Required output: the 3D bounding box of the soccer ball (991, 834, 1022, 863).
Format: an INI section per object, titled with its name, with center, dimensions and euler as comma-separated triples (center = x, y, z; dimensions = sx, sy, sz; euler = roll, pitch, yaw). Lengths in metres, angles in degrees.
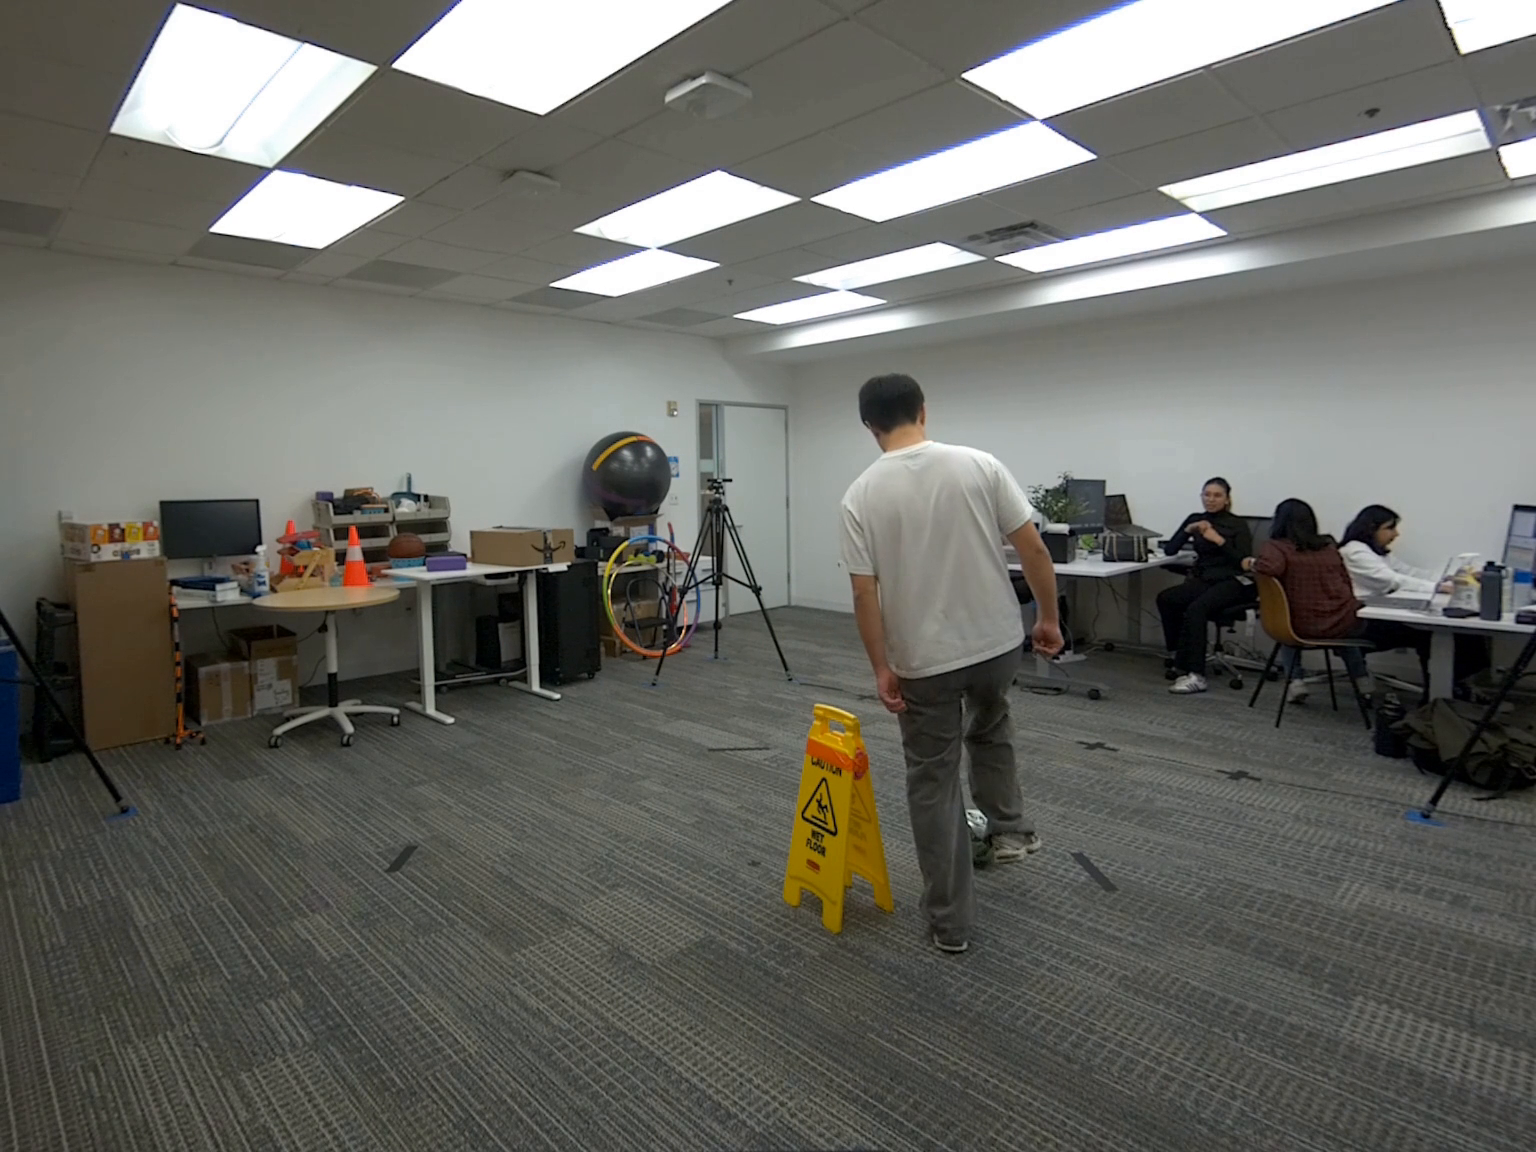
[soccer ball]
center = 0.761, 0.944, 3.099
dimensions = 0.187, 0.187, 0.188
euler = -1, 5, -2
